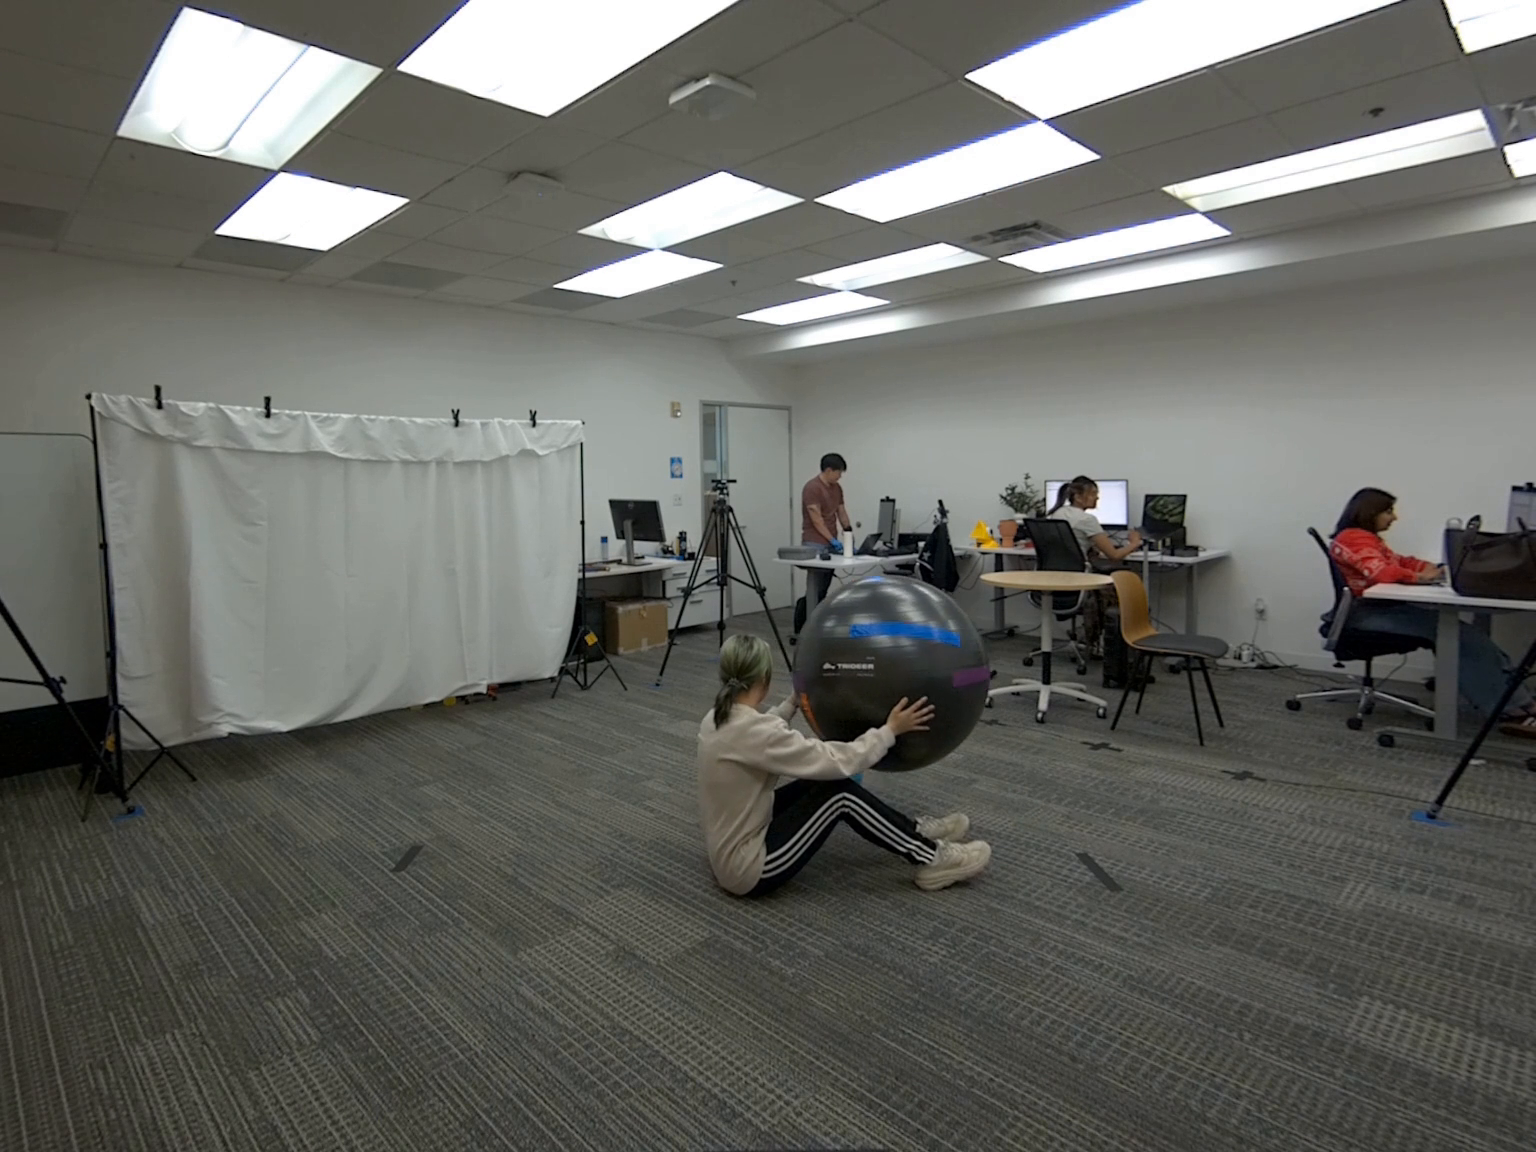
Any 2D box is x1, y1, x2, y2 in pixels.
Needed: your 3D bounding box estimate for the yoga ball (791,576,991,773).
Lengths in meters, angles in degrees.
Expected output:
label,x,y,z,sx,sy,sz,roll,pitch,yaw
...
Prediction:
label,x,y,z,sx,sy,sz,roll,pitch,yaw
yoga ball,0.497,0.392,3.362,0.757,0.755,0.762,-1,5,-2
